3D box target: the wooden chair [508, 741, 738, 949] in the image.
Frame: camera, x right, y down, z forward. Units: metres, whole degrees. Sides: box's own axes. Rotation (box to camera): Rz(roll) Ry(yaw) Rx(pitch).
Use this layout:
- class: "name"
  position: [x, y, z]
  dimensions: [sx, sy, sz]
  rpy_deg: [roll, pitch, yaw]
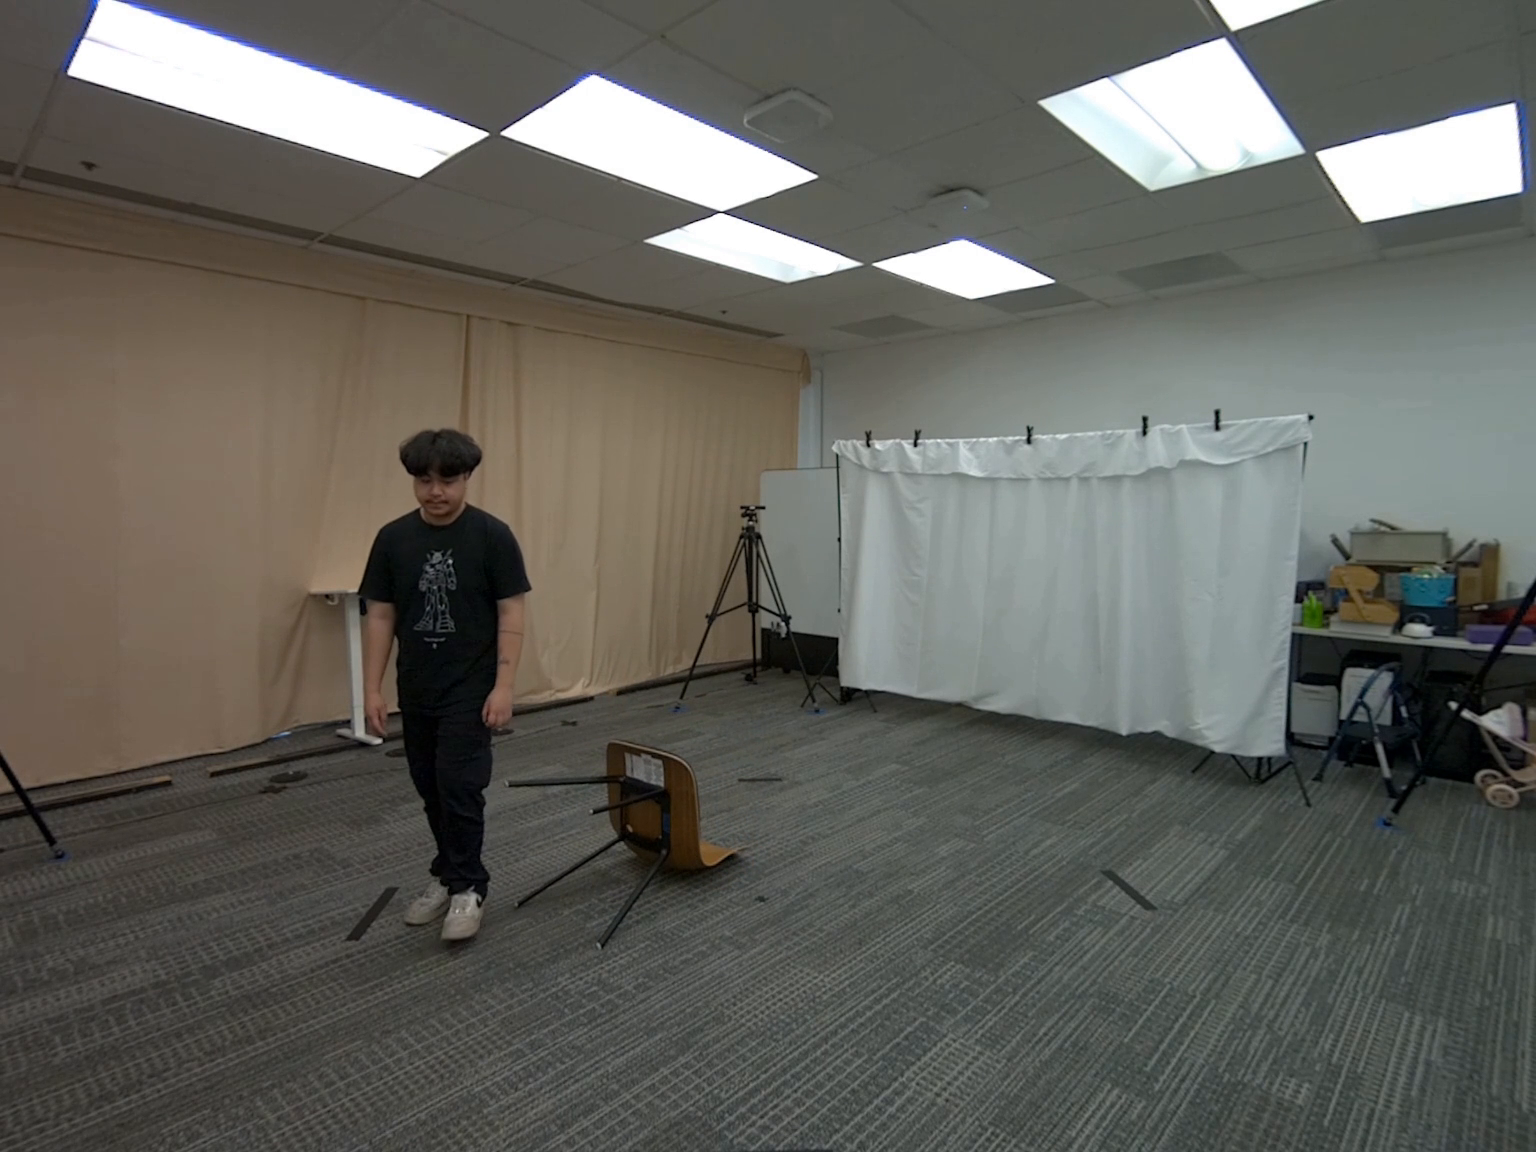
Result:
- class: "wooden chair"
  position: [-0.457, 0.881, 3.084]
  dimensions: [0.494, 0.522, 0.850]
  rpy_deg: [2, 4, 39]
